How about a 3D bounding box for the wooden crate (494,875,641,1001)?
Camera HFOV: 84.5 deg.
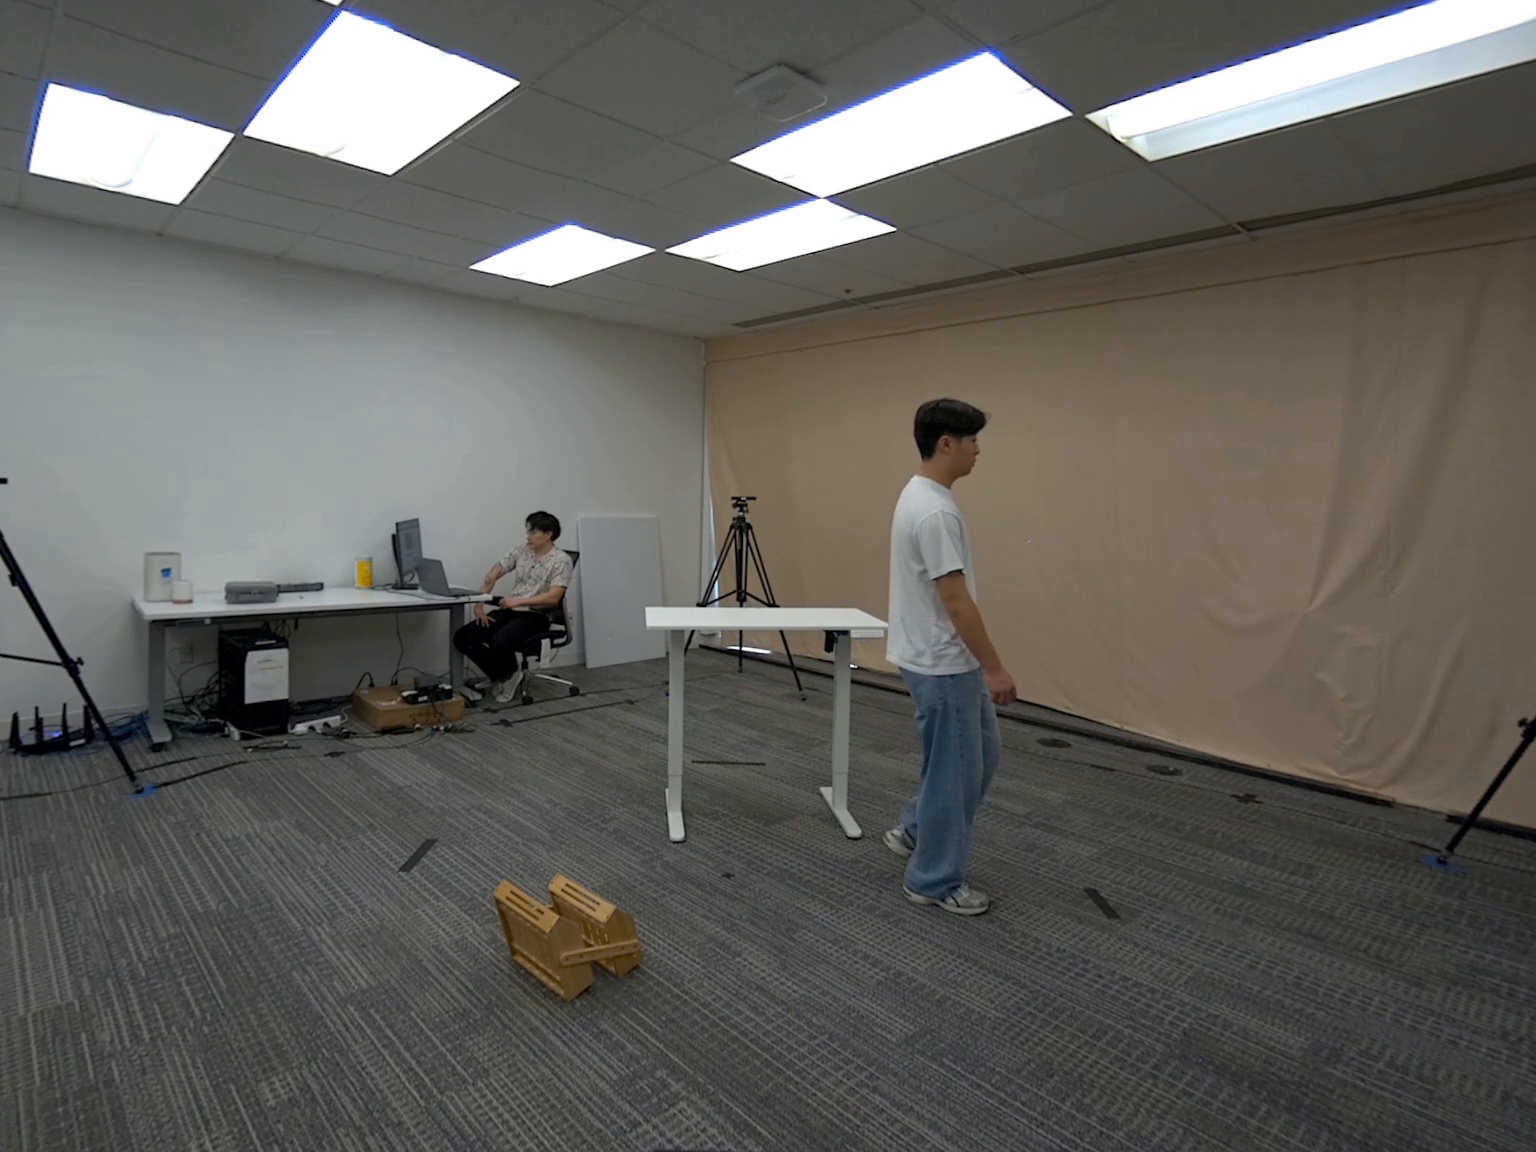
[{"bbox_3d":[-0.592,1.019,2.475,0.333,0.298,0.270,5,23,44],"label":"wooden crate"}]
